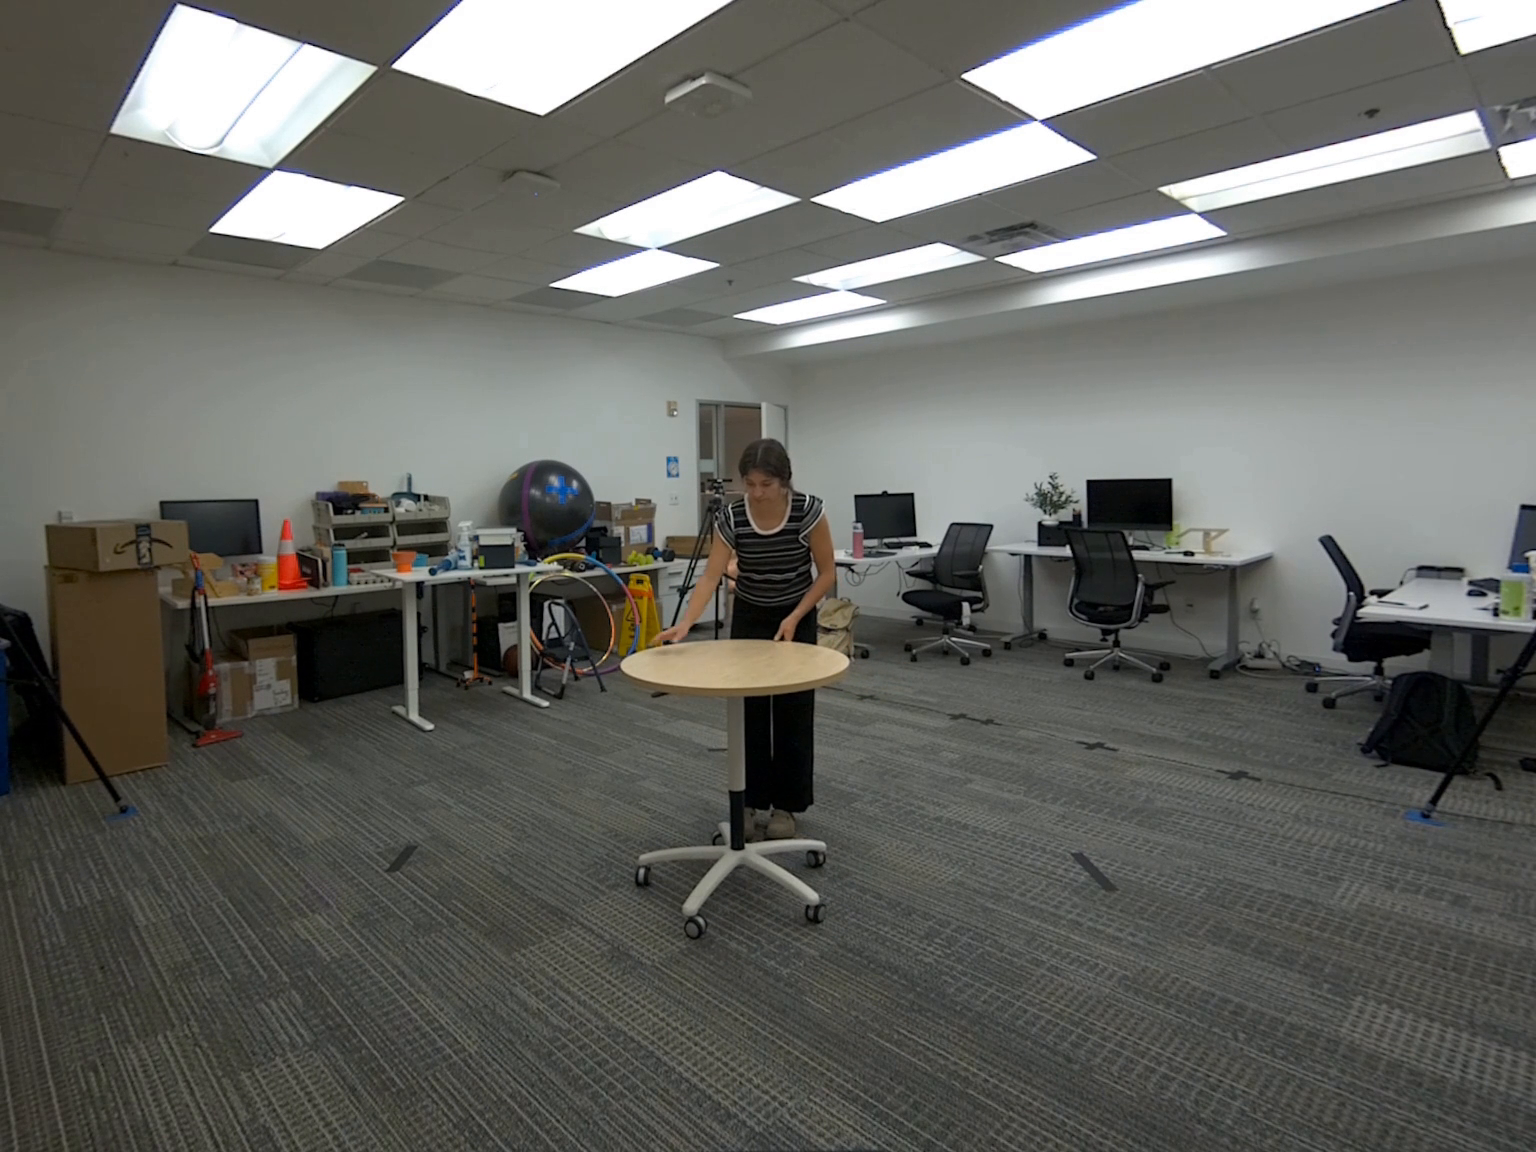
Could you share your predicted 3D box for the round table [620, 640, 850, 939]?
[{"bbox_3d":[-0.092,0.678,2.892,0.784,0.783,0.789,-2,5,-2],"label":"round table"}]
